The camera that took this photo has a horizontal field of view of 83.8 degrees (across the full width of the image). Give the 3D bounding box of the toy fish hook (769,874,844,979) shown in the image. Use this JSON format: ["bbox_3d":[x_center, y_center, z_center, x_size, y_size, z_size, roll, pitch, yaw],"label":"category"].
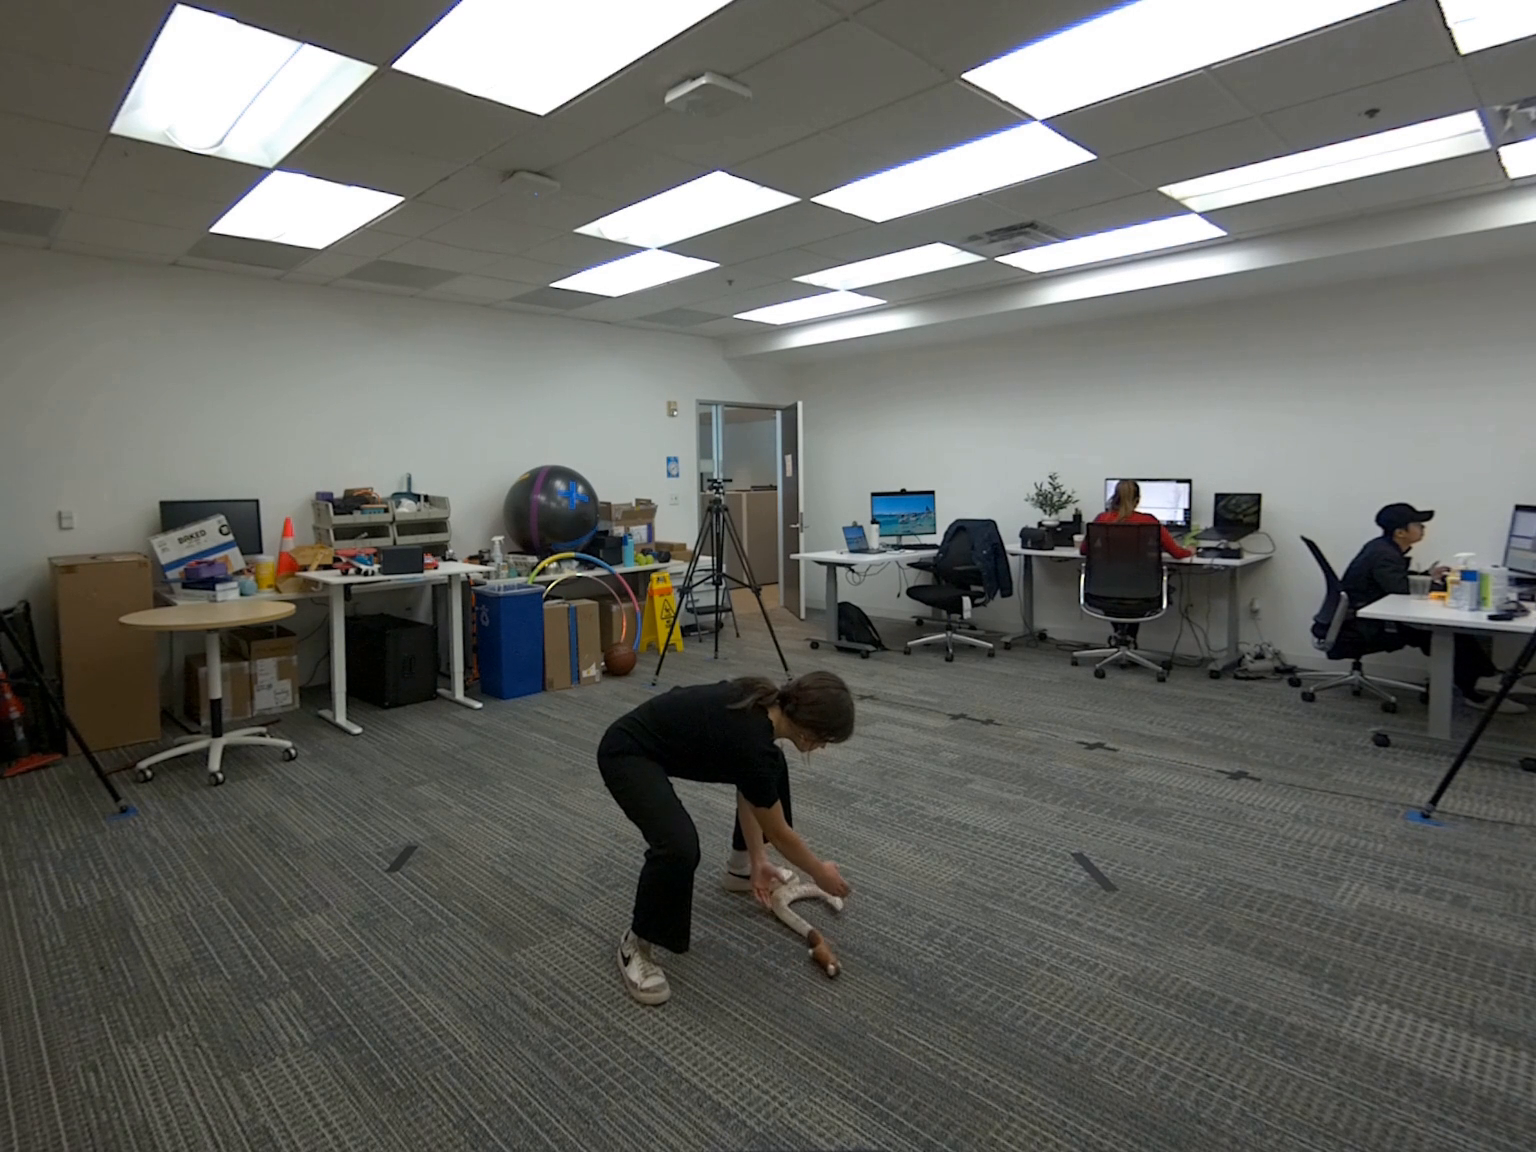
[{"bbox_3d":[0.164,1.069,2.617,0.222,0.048,0.516,-11,9,-15],"label":"toy fish hook"}]
